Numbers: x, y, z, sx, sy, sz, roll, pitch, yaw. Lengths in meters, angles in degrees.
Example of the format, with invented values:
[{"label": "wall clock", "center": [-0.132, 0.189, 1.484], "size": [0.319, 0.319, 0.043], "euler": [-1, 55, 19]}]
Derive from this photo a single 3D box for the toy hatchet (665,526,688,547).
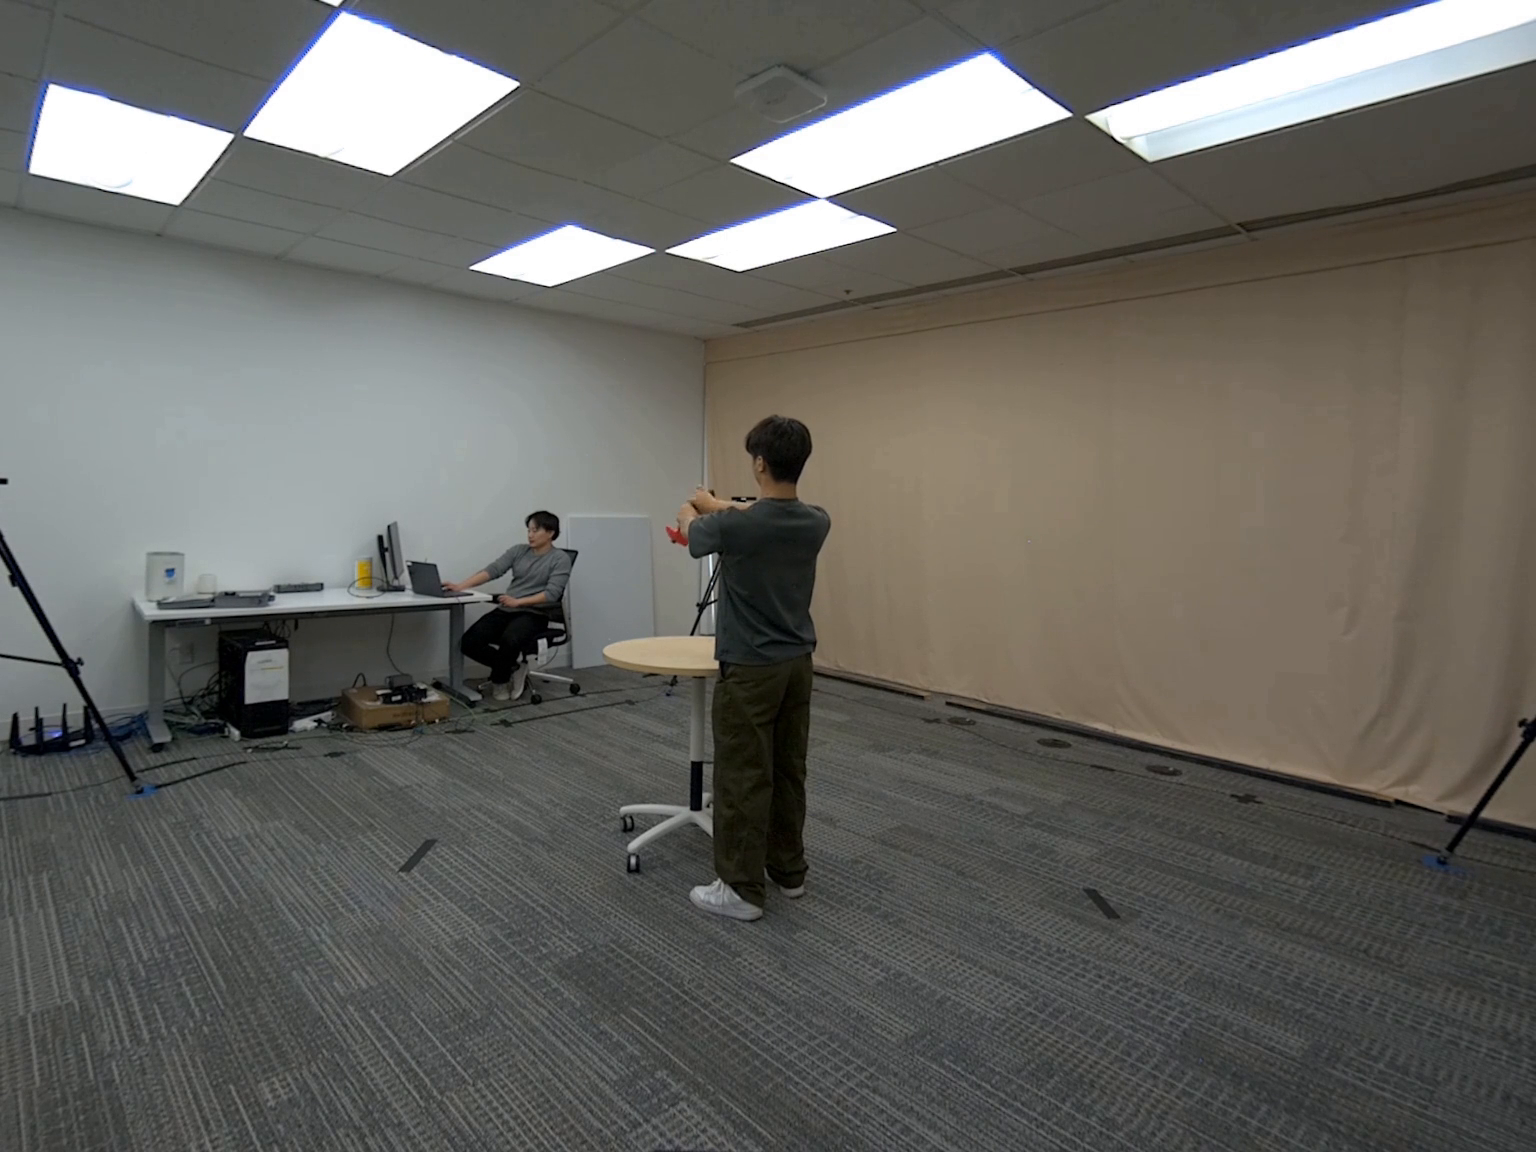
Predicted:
[{"label": "toy hatchet", "center": [-0.289, -0.216, 3.325], "size": [0.269, 0.128, 0.030], "euler": [-39, 31, -28]}]
